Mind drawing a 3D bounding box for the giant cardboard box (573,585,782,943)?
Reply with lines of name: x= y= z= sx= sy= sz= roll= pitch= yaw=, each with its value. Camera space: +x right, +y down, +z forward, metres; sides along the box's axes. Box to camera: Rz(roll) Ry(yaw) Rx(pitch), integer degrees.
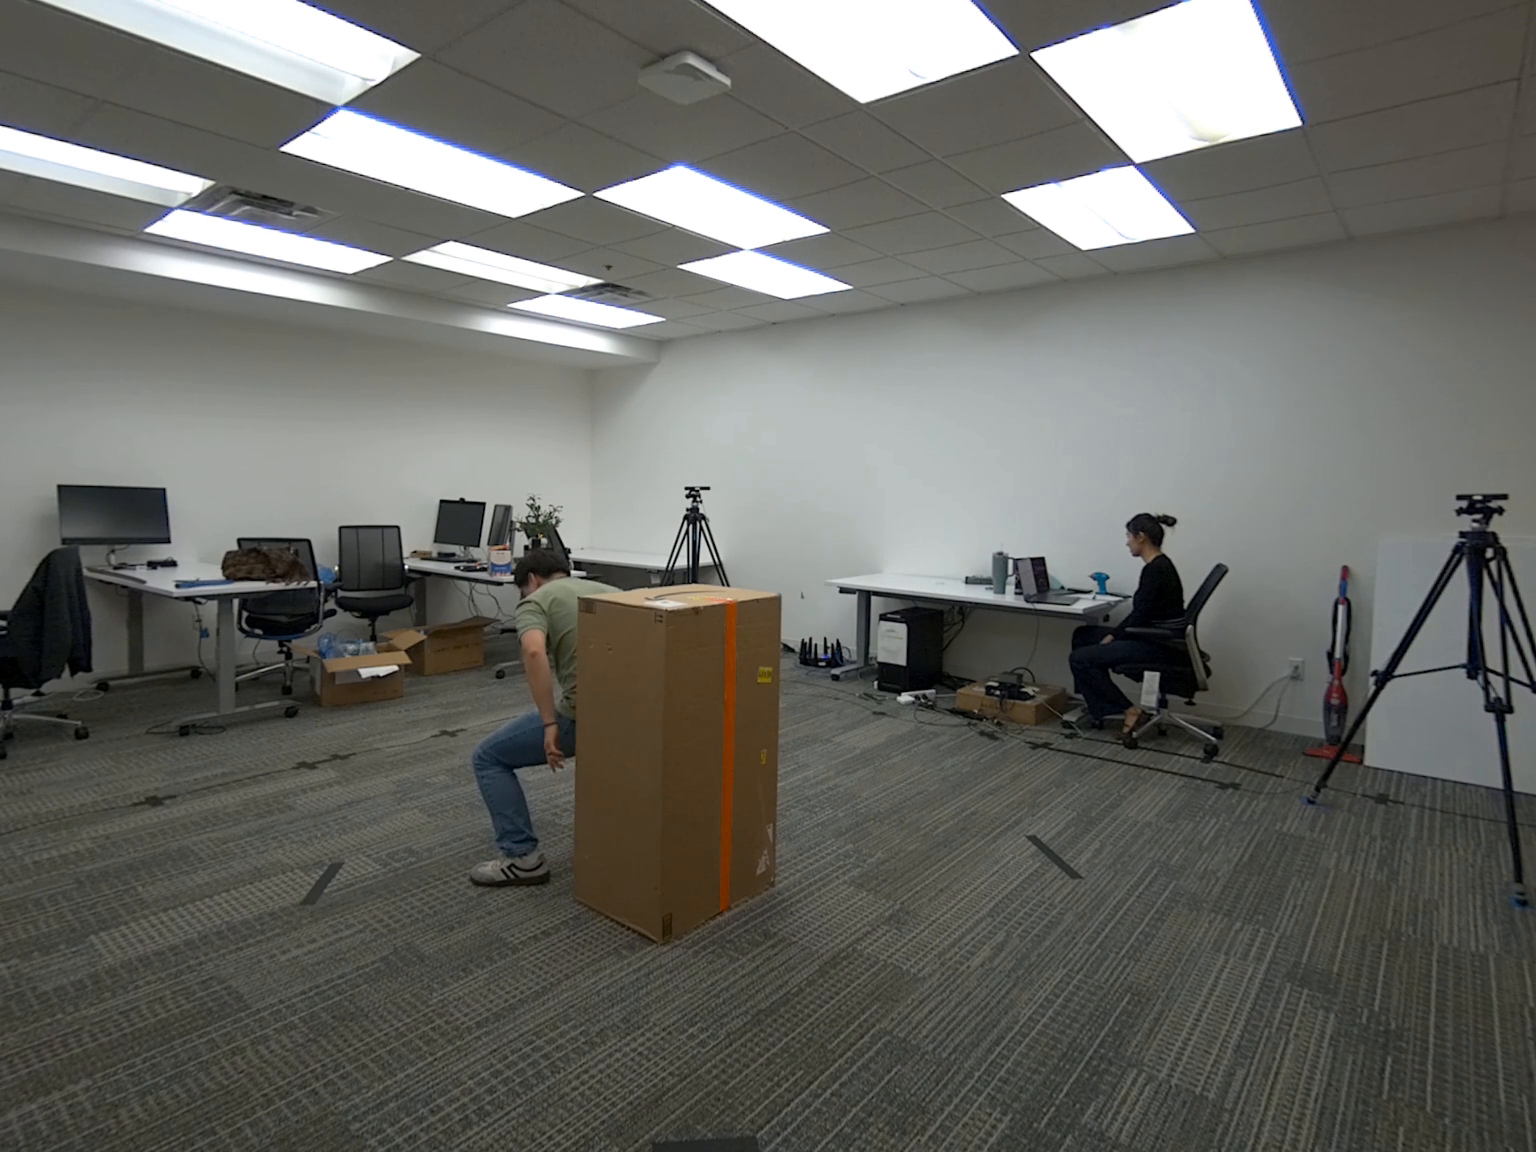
giant cardboard box: x=-0.306 y=0.573 z=2.901 sx=0.440 sy=1.023 sz=0.560 roll=3 pitch=4 yaw=40
